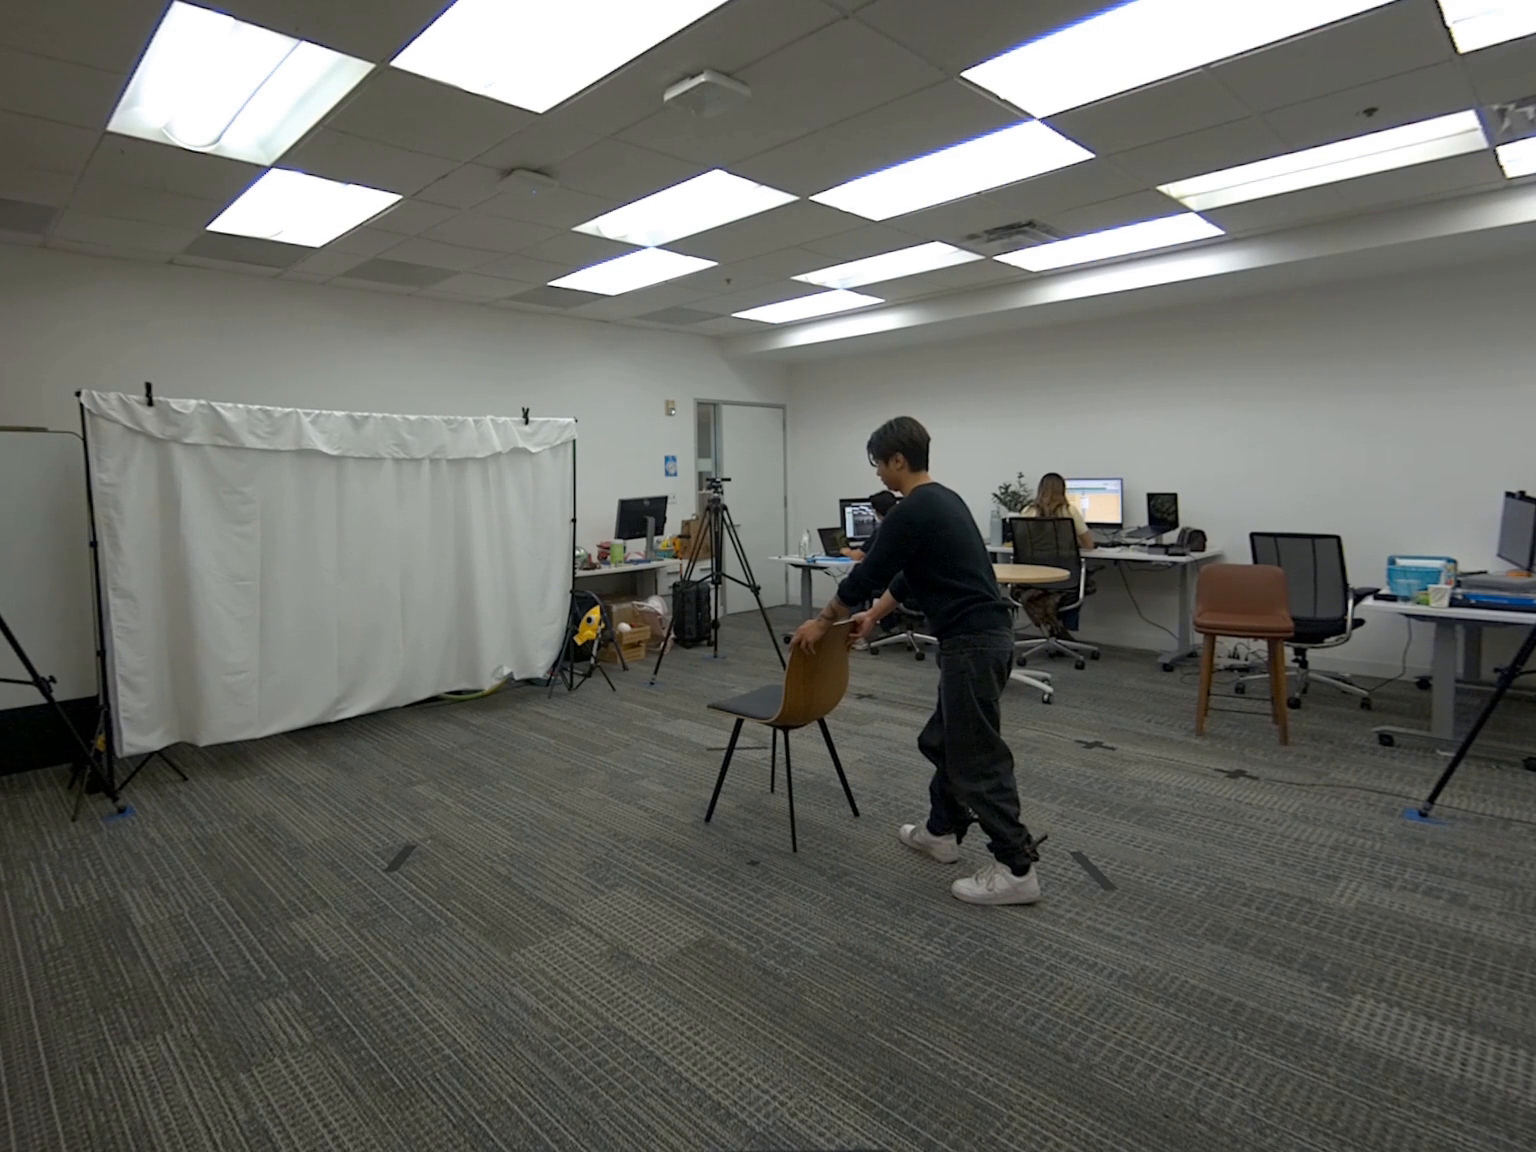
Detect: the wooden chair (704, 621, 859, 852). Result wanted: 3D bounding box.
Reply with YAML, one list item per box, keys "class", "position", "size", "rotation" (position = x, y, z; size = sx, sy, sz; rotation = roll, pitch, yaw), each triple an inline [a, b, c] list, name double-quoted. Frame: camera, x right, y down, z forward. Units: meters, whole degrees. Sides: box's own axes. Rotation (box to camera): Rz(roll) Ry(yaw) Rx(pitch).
- class: "wooden chair"
  position: [0.053, 0.567, 3.461]
  size: [0.540, 0.872, 0.466]
  rotation: [9, 10, 38]
